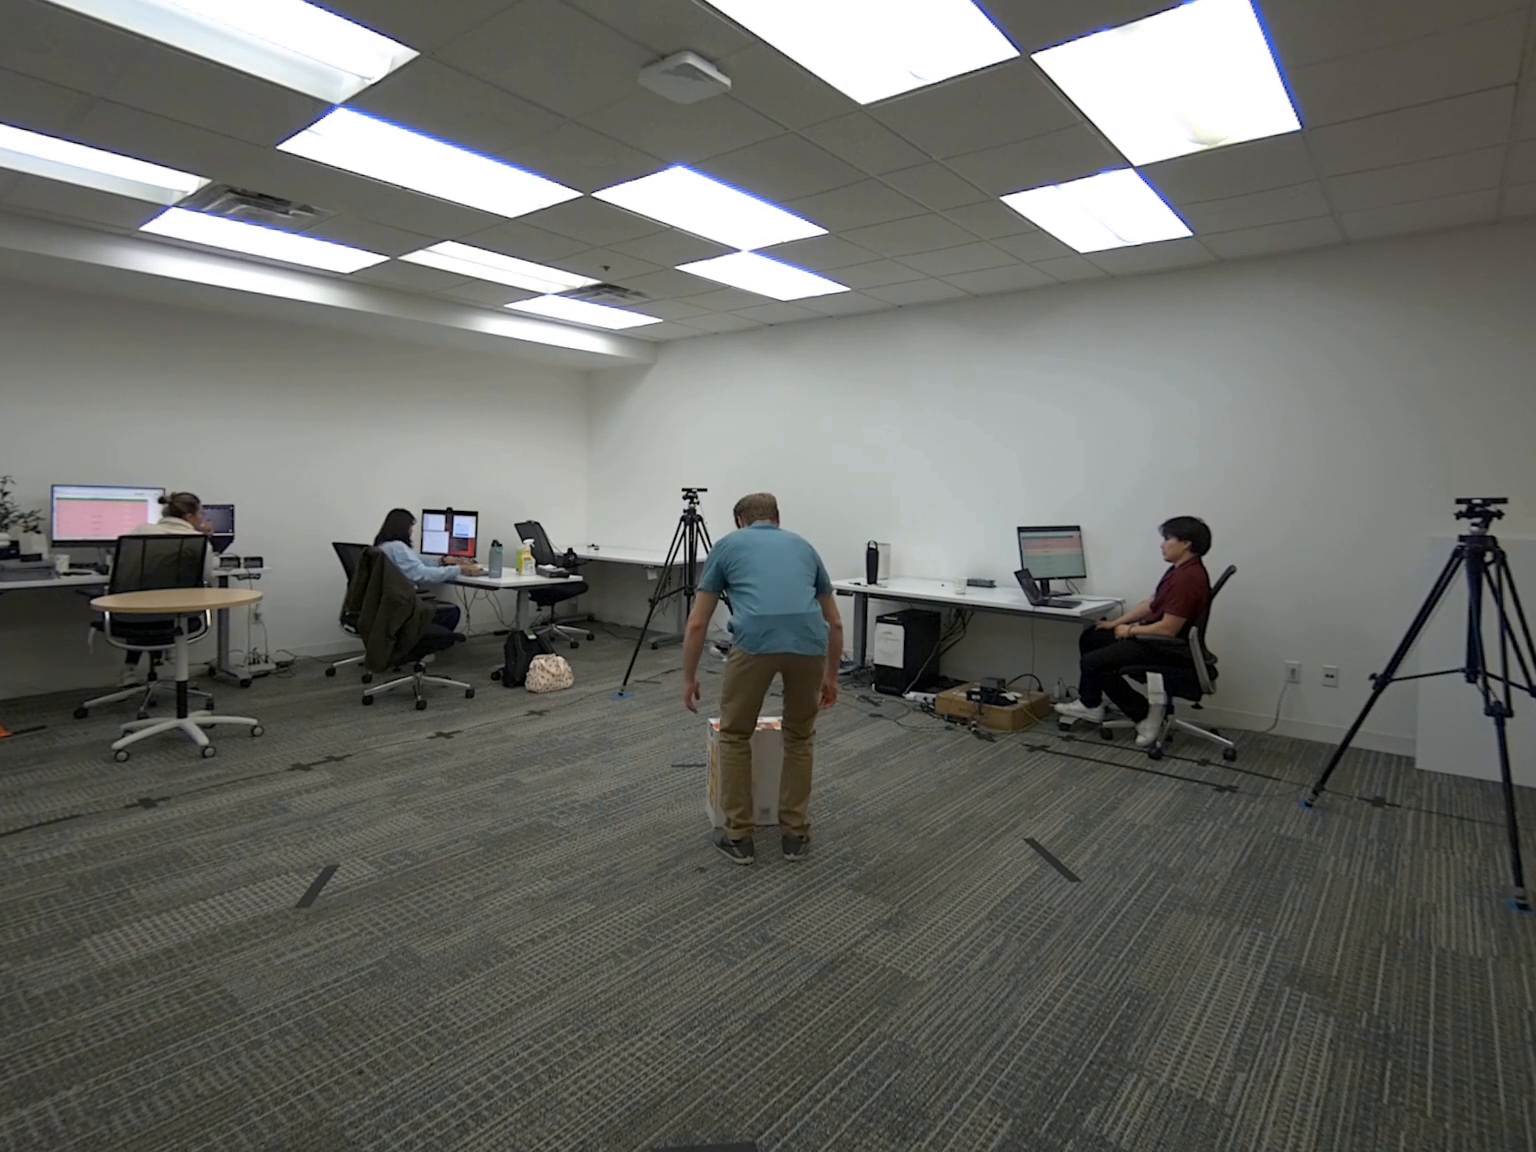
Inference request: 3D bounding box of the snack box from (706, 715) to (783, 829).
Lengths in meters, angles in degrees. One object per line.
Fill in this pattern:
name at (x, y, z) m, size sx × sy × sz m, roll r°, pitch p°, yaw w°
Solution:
snack box at (-0.088, 0.822, 3.598) m, size 0.336 × 0.404 × 0.209 m, roll 1°, pitch 3°, yaw -12°
